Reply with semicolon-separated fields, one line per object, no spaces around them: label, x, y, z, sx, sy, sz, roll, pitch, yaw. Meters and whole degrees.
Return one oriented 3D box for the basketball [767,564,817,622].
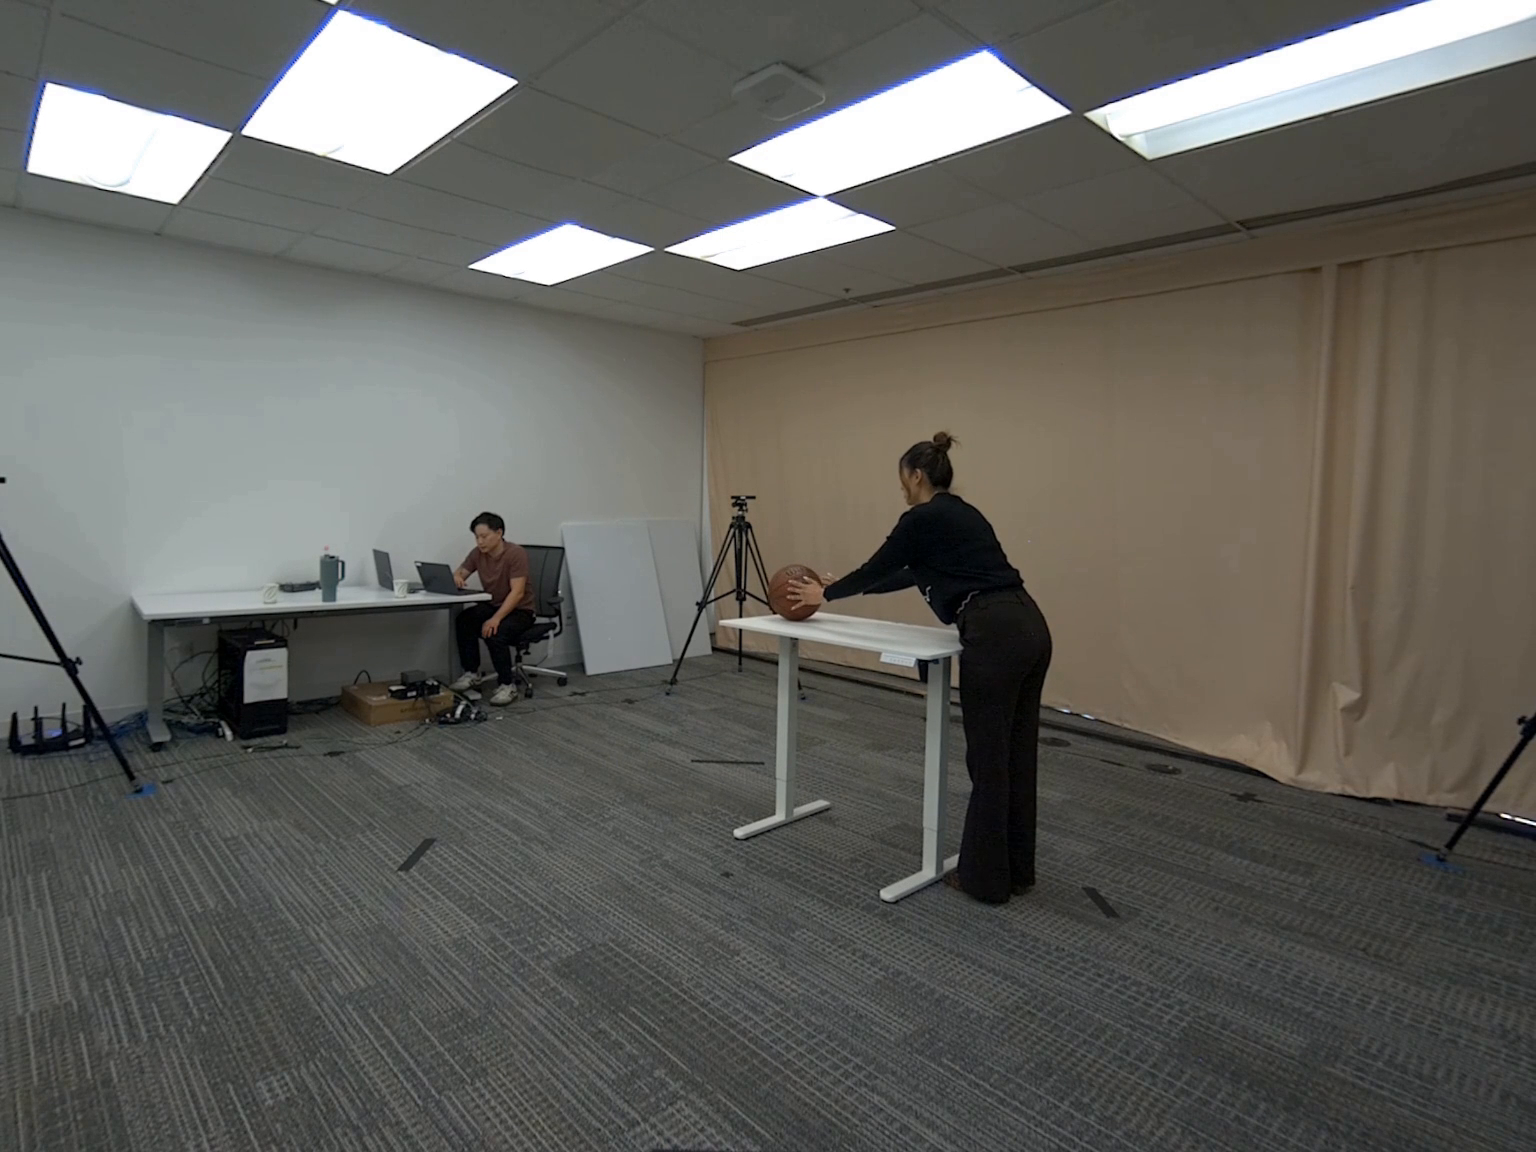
basketball;0.115;0.071;3.567;0.236;0.235;0.237;1;4;-1
